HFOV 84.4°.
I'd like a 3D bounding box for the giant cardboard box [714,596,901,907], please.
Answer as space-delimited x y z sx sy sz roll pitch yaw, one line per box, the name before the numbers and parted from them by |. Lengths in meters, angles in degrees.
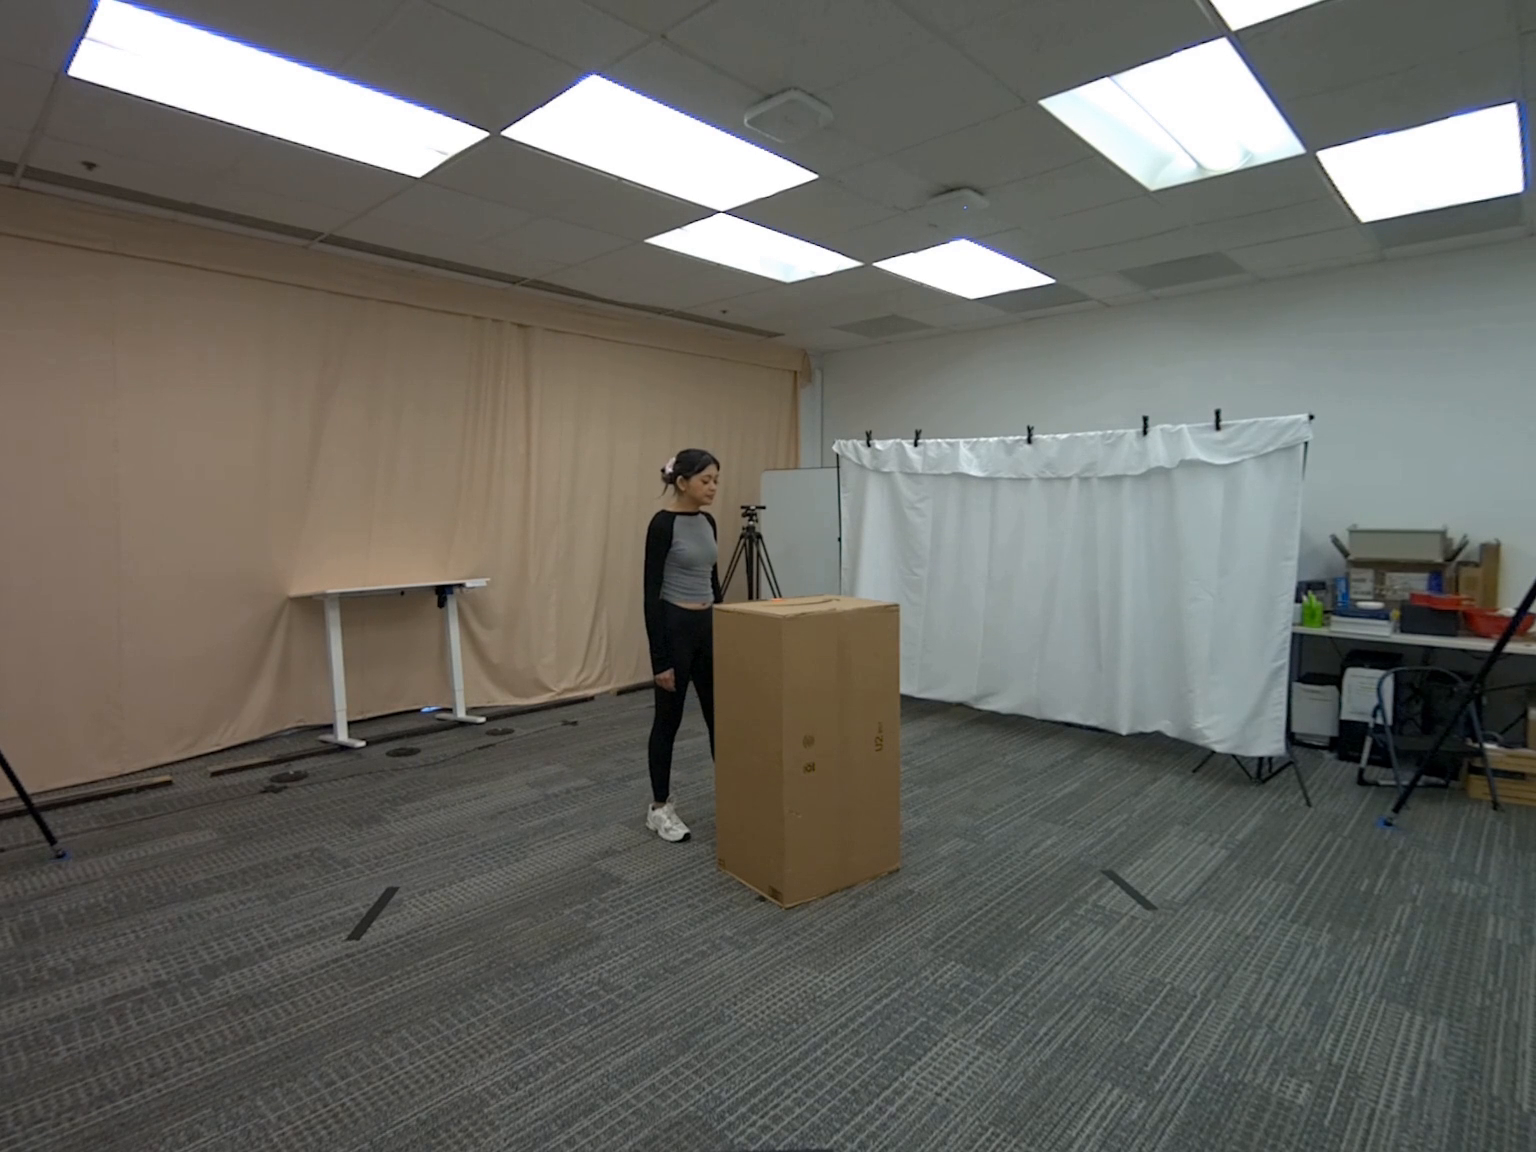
giant cardboard box | 0.150 0.616 3.210 0.567 1.024 0.461 -3 5 -37
